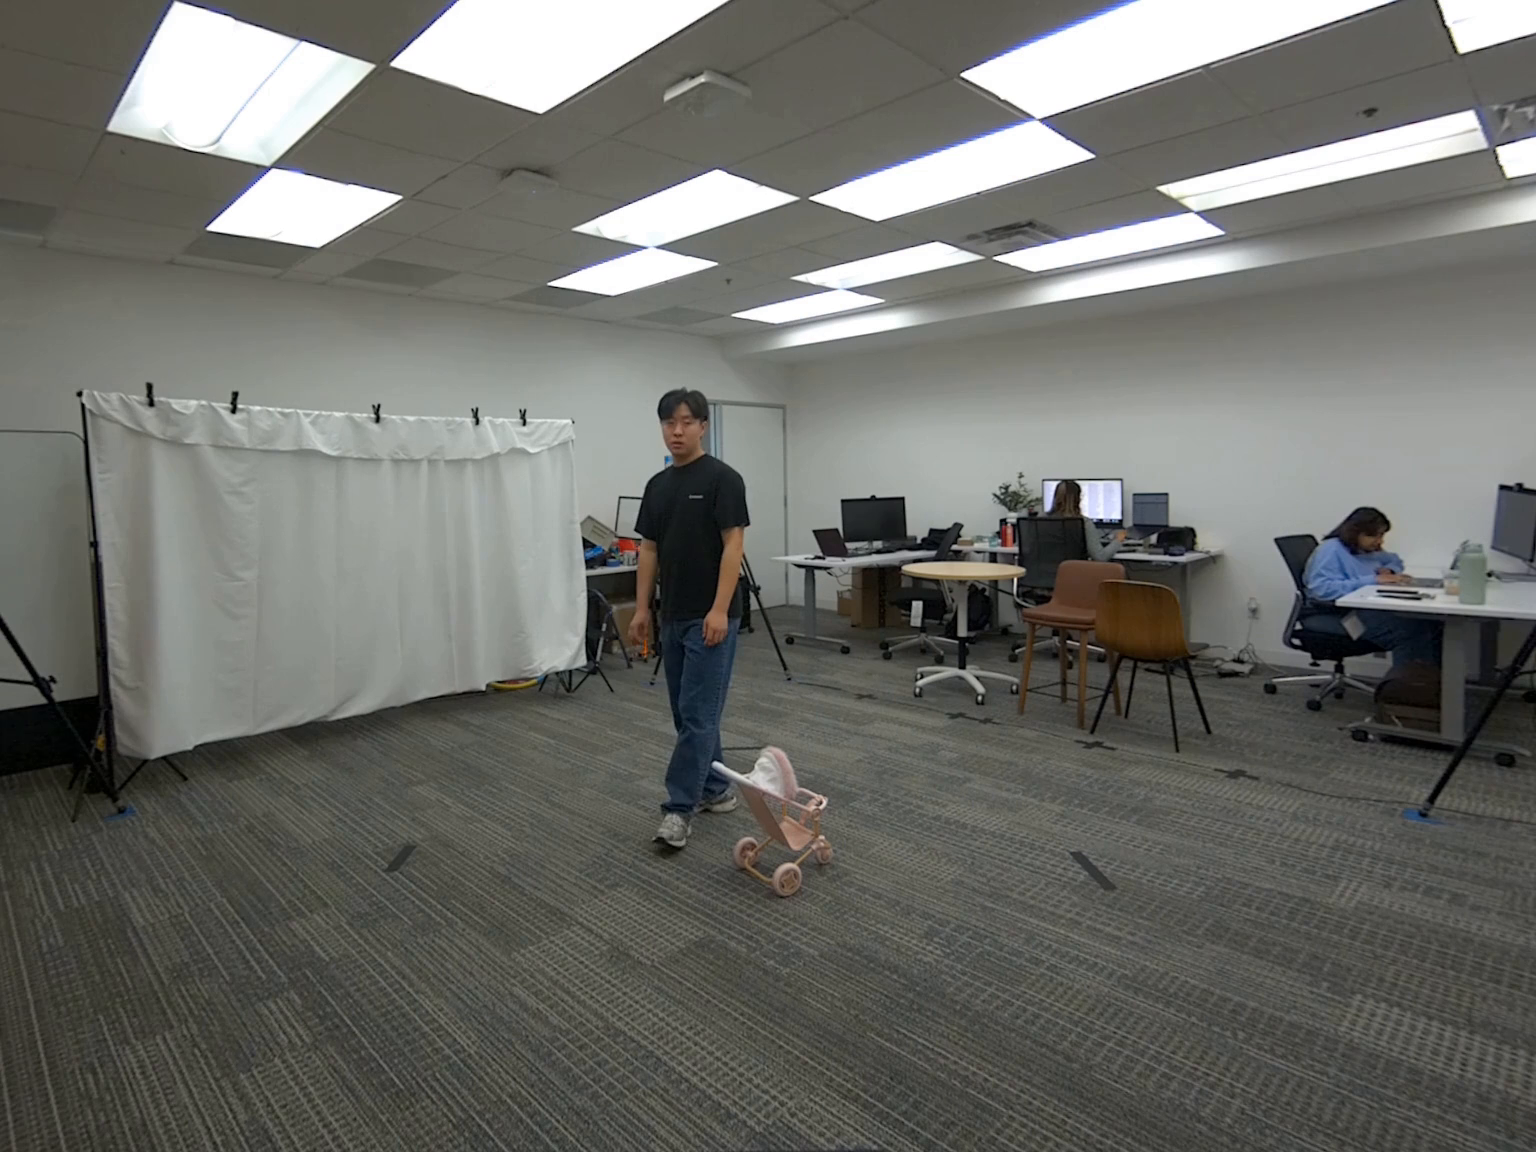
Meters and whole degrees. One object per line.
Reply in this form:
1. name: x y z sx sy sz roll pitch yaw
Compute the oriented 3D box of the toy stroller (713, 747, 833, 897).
1. toy stroller: 0.047 0.830 2.979 0.337 0.528 0.289 -21 13 -25
